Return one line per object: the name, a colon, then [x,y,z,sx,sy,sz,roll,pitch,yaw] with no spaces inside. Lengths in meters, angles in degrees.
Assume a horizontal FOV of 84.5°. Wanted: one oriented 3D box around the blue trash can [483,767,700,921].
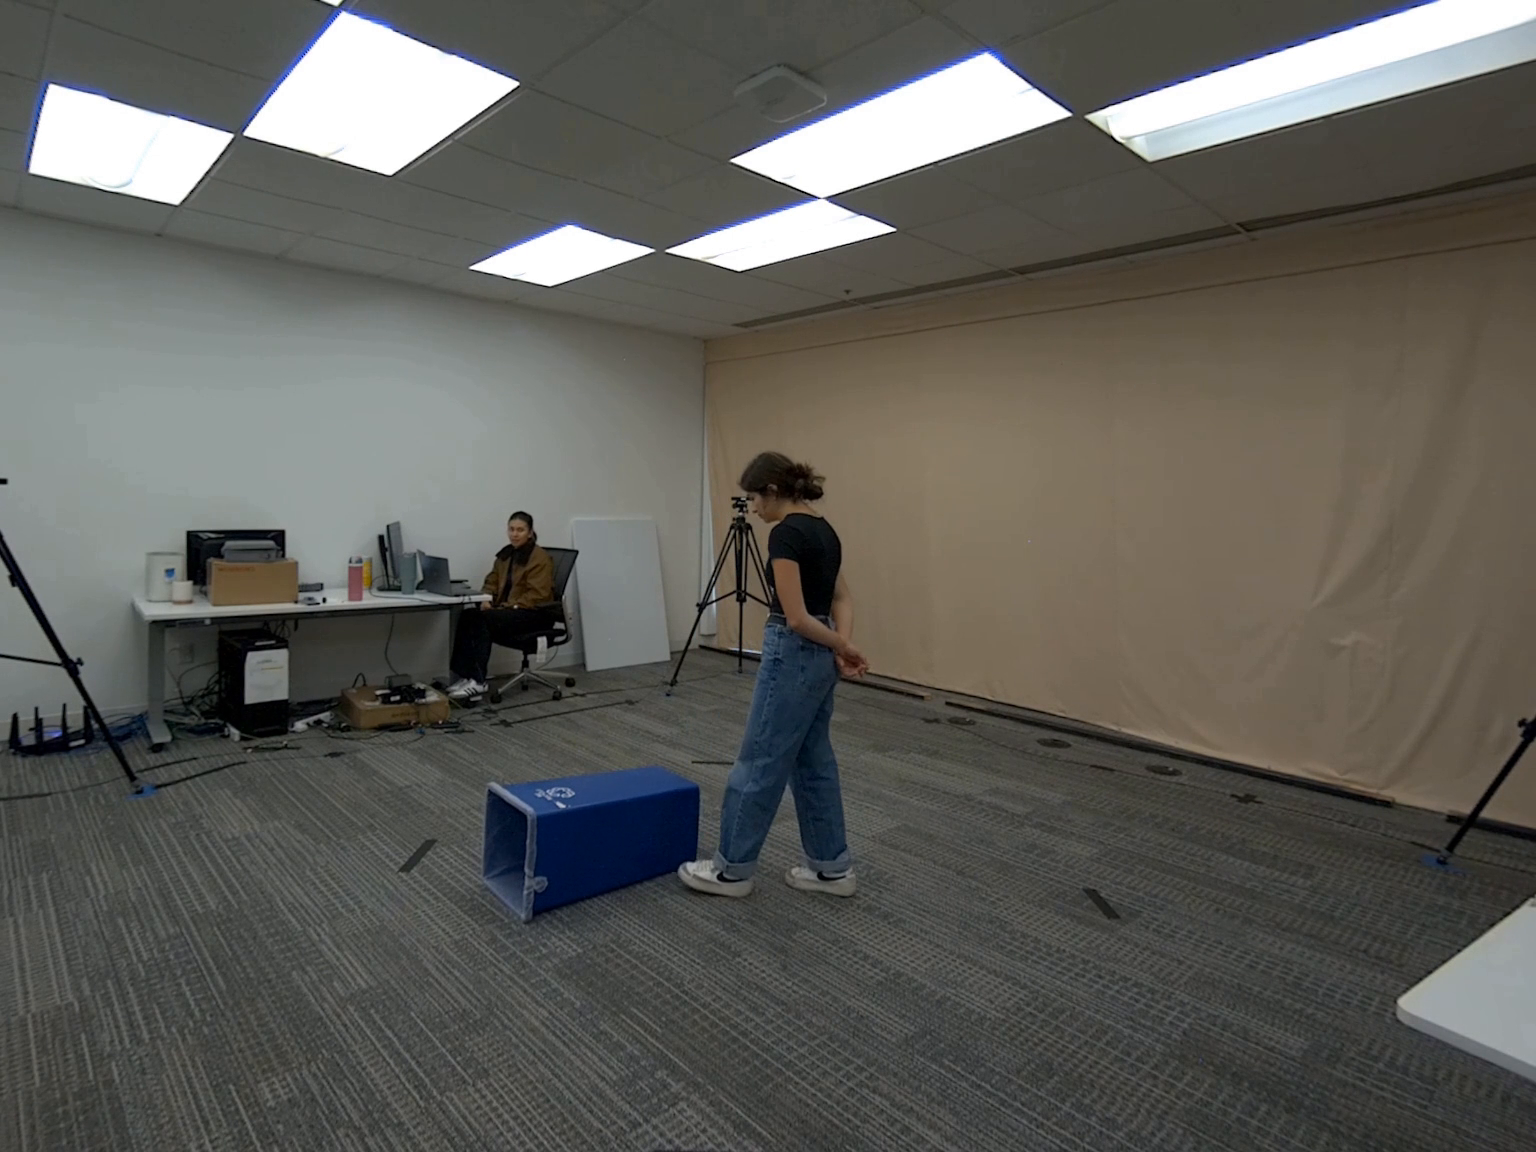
blue trash can: [-0.636,0.932,3.075,0.696,0.377,0.383,1,3,-41]
